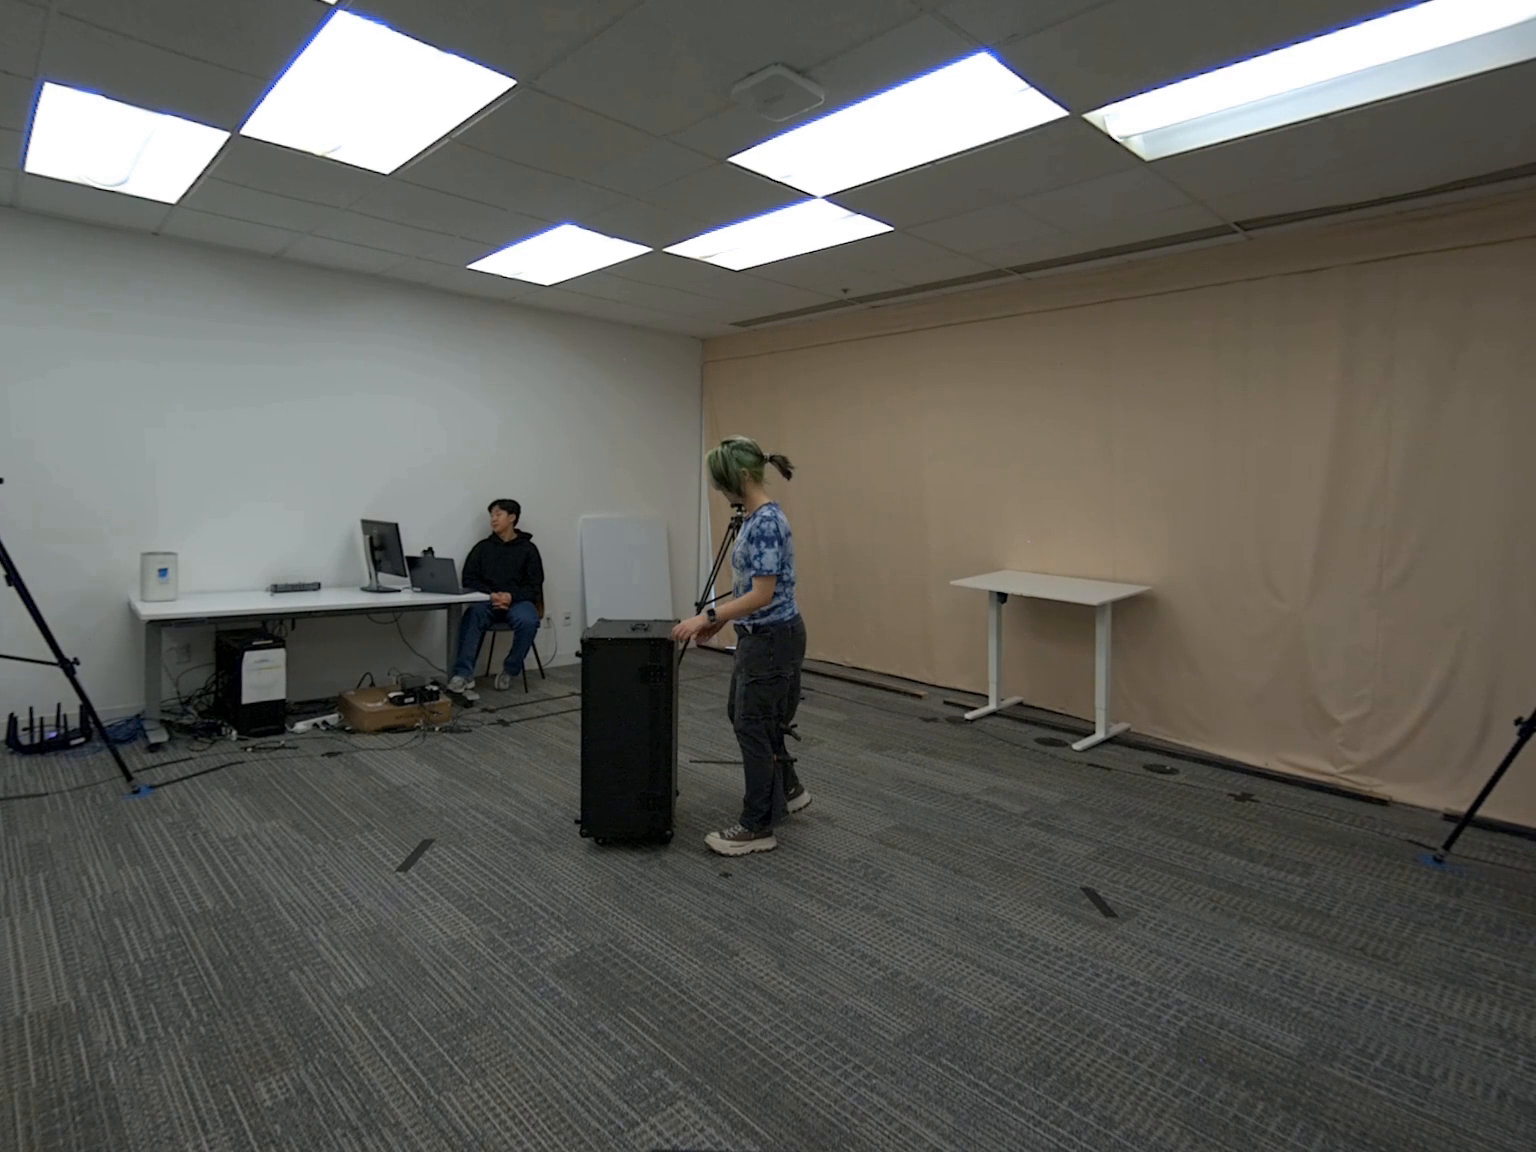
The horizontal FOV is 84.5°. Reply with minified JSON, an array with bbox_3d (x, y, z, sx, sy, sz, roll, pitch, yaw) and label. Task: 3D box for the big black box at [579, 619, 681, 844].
[{"bbox_3d":[-0.573,0.640,3.460,0.395,0.859,0.524,1,4,-3],"label":"big black box"}]
